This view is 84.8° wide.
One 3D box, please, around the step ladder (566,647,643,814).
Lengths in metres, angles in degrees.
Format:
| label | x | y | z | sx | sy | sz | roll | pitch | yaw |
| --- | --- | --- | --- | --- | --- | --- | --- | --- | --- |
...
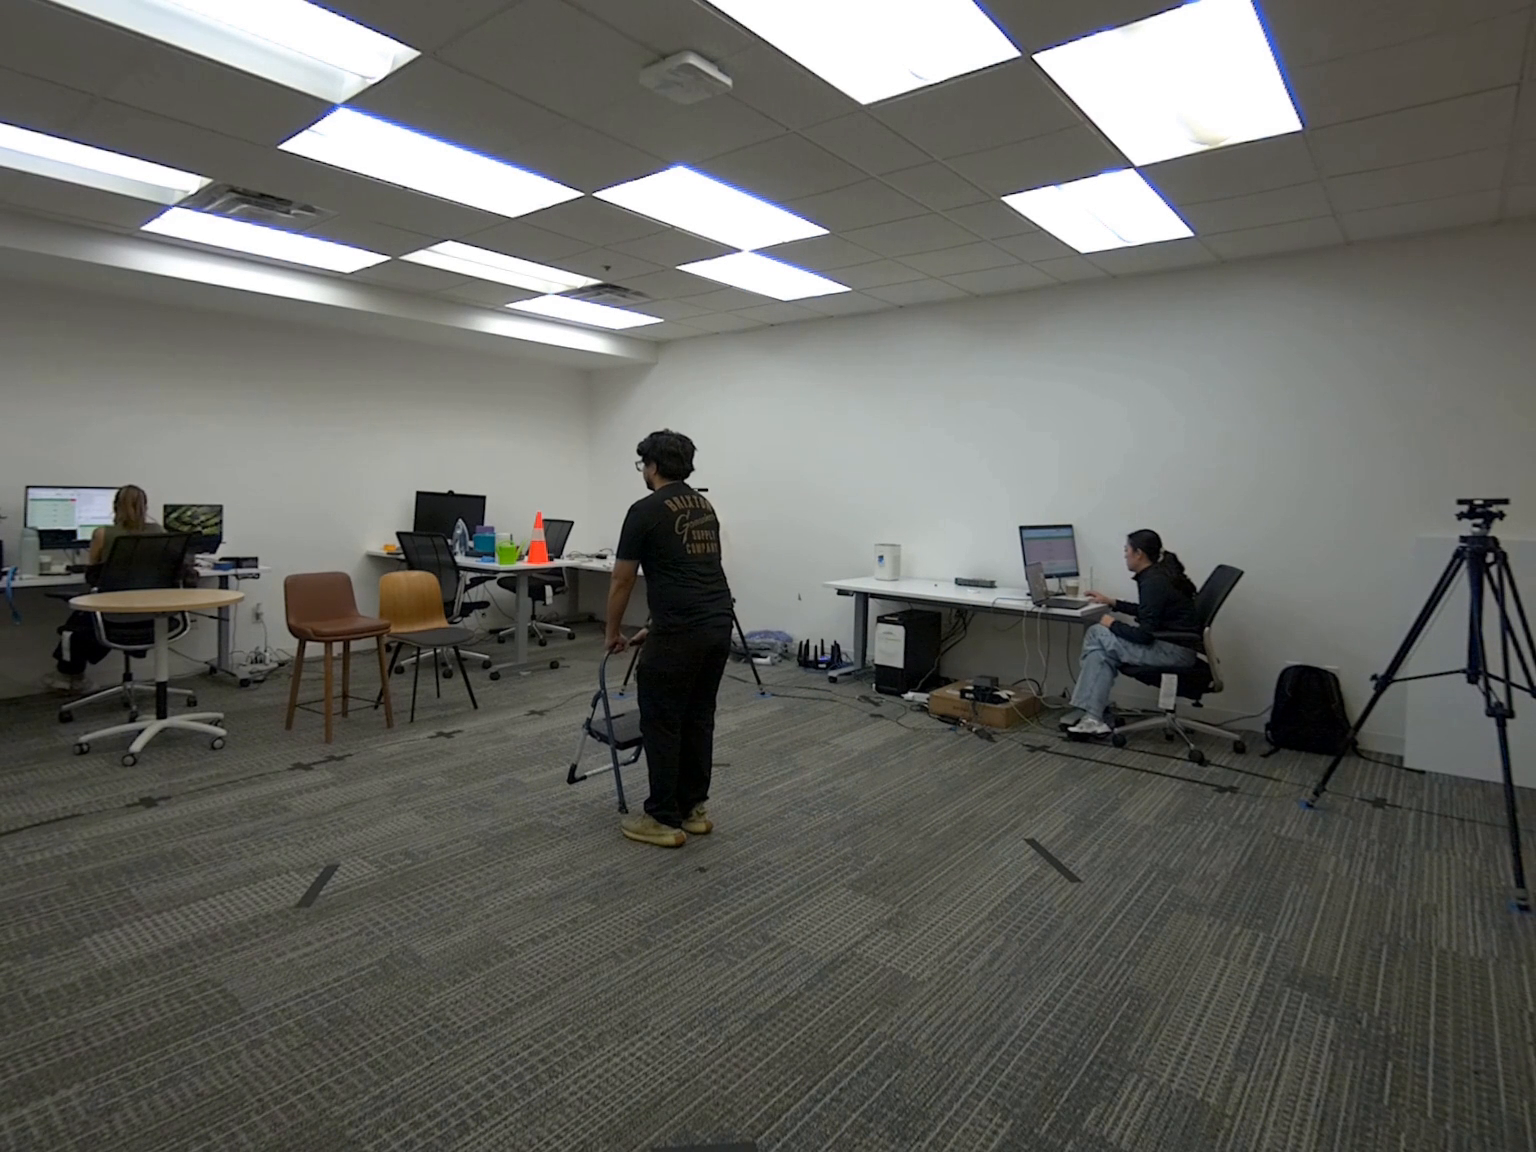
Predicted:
| label | x | y | z | sx | sy | sz | roll | pitch | yaw |
| --- | --- | --- | --- | --- | --- | --- | --- | --- | --- |
| step ladder | -0.567 | 0.586 | 3.569 | 0.361 | 0.602 | 0.418 | 12 | 9 | 34 |
